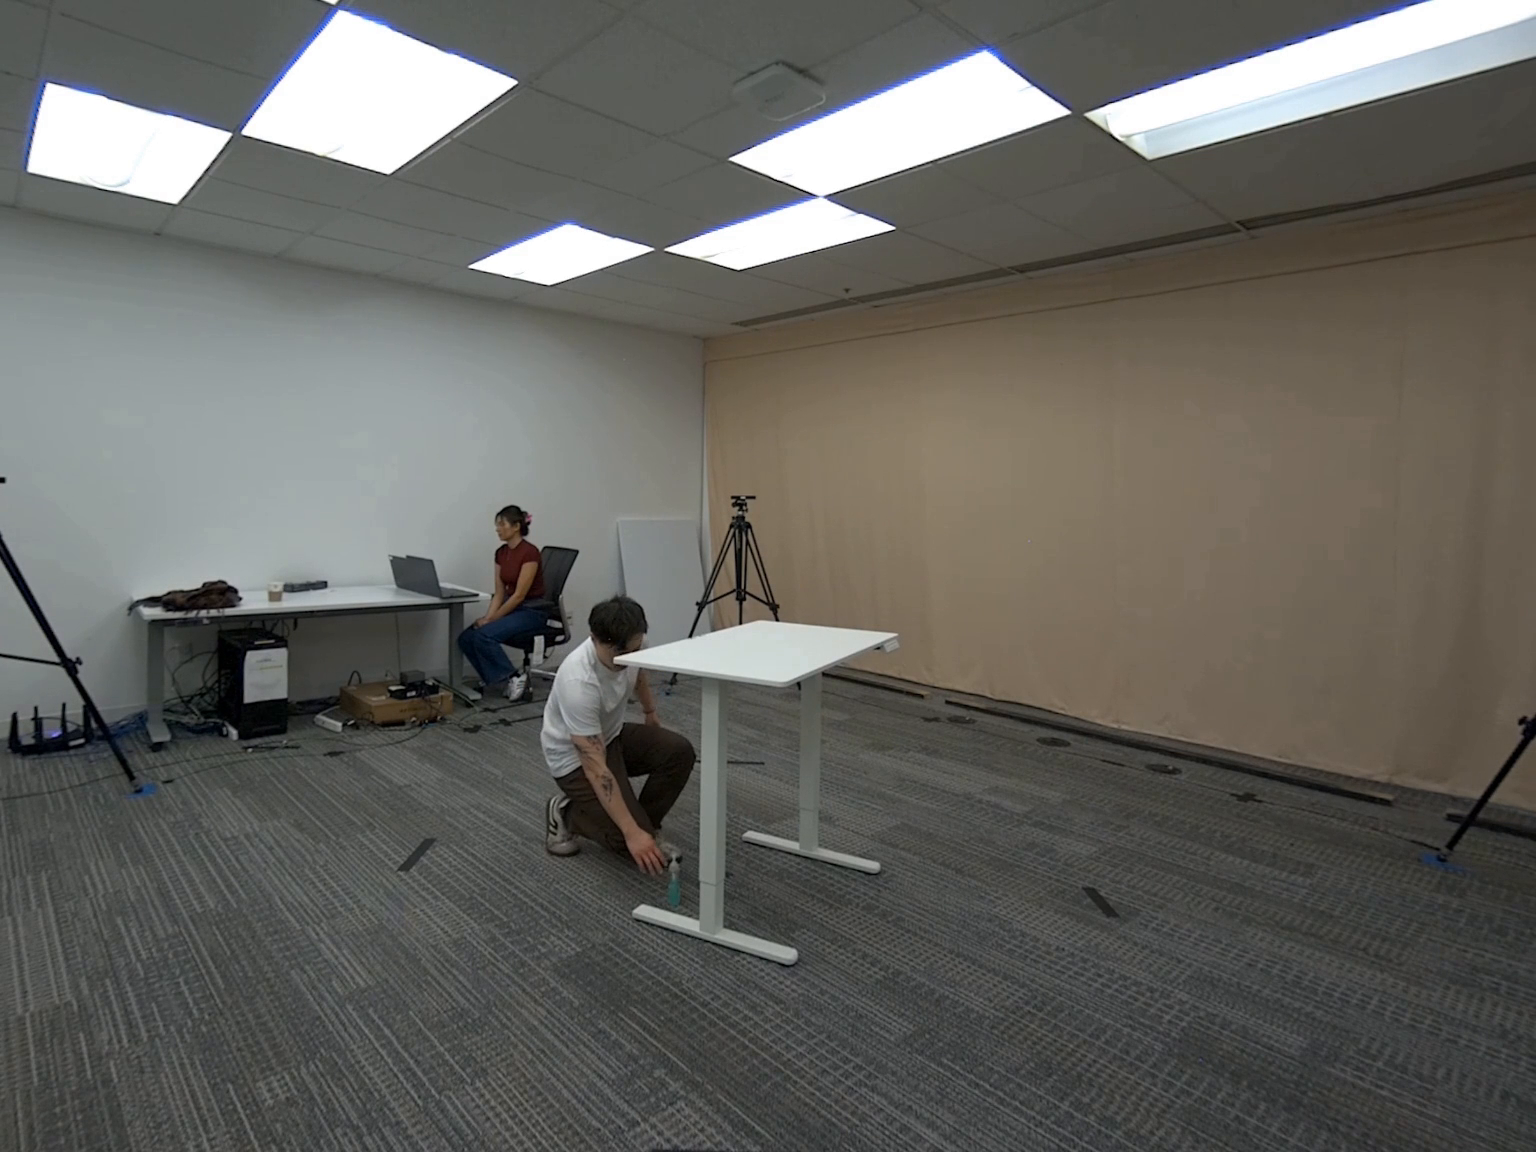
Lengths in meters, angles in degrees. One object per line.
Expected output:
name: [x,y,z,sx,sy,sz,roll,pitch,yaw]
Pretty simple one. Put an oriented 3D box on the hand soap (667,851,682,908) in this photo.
hand soap: [-0.331,1.042,2.886,0.043,0.168,0.085,1,4,-1]
